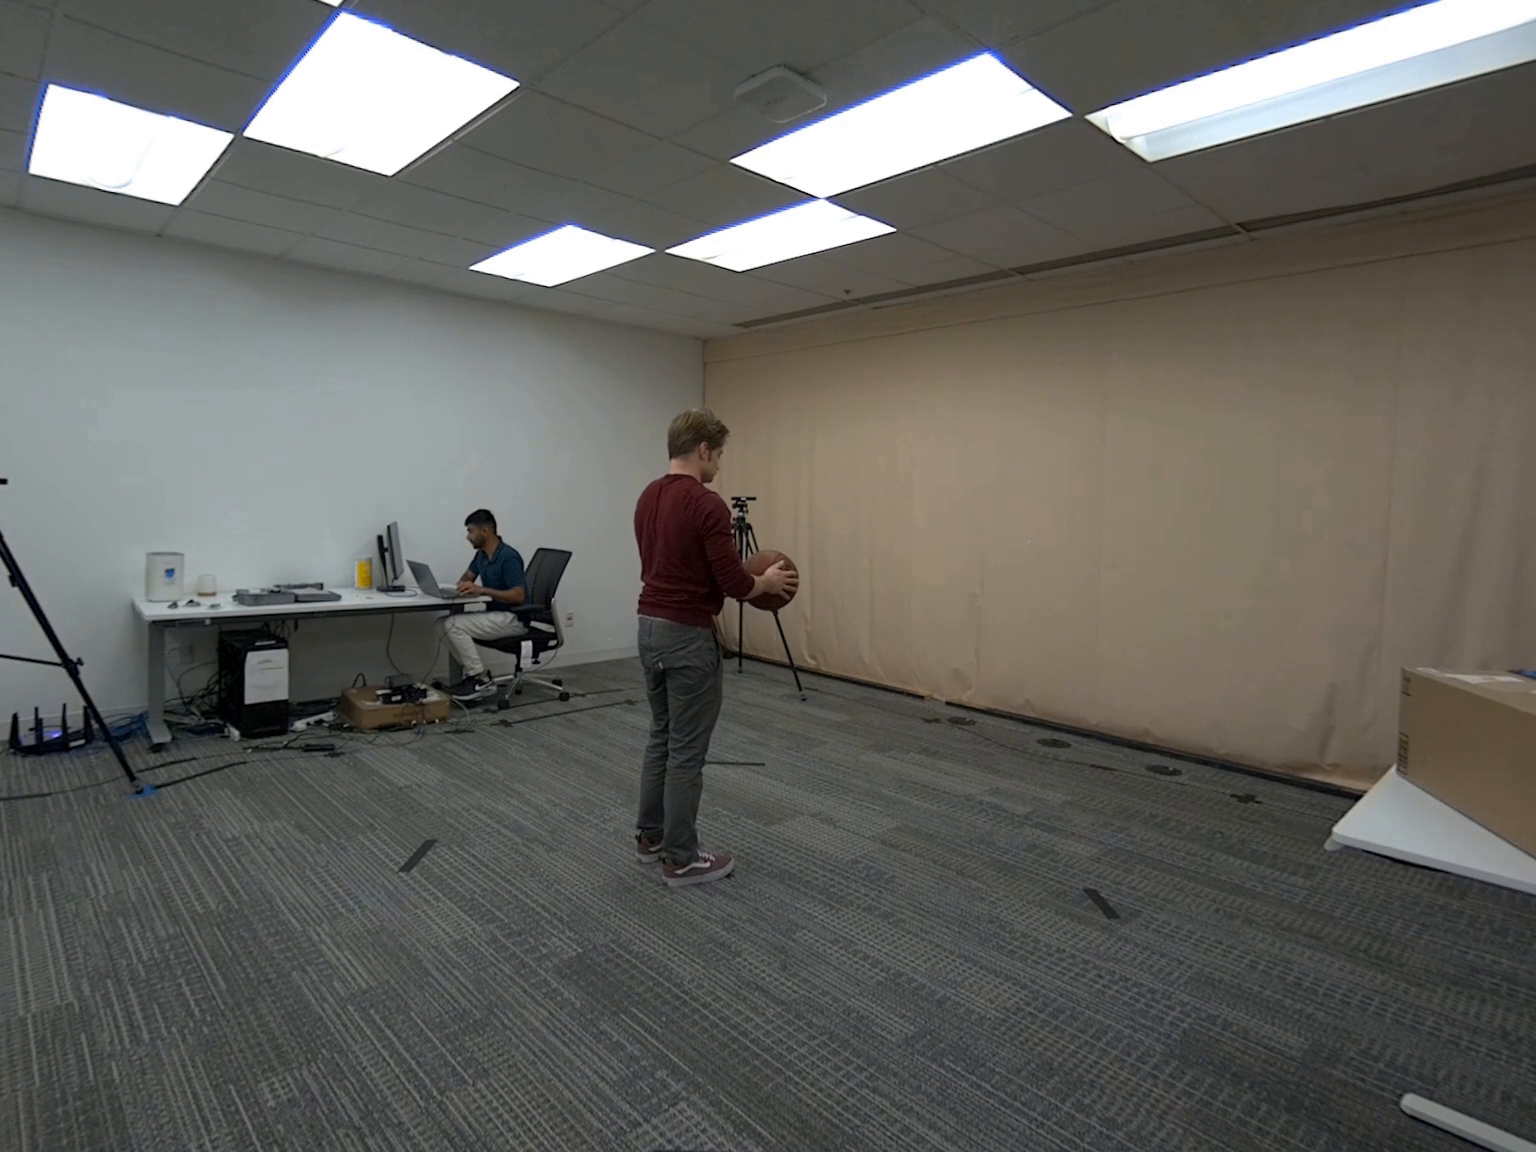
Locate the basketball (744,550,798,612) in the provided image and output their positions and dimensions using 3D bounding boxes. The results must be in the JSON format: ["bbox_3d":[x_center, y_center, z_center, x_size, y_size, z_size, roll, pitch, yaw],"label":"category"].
[{"bbox_3d":[-0.009,0.017,3.309,0.236,0.235,0.237,1,4,-1],"label":"basketball"}]
